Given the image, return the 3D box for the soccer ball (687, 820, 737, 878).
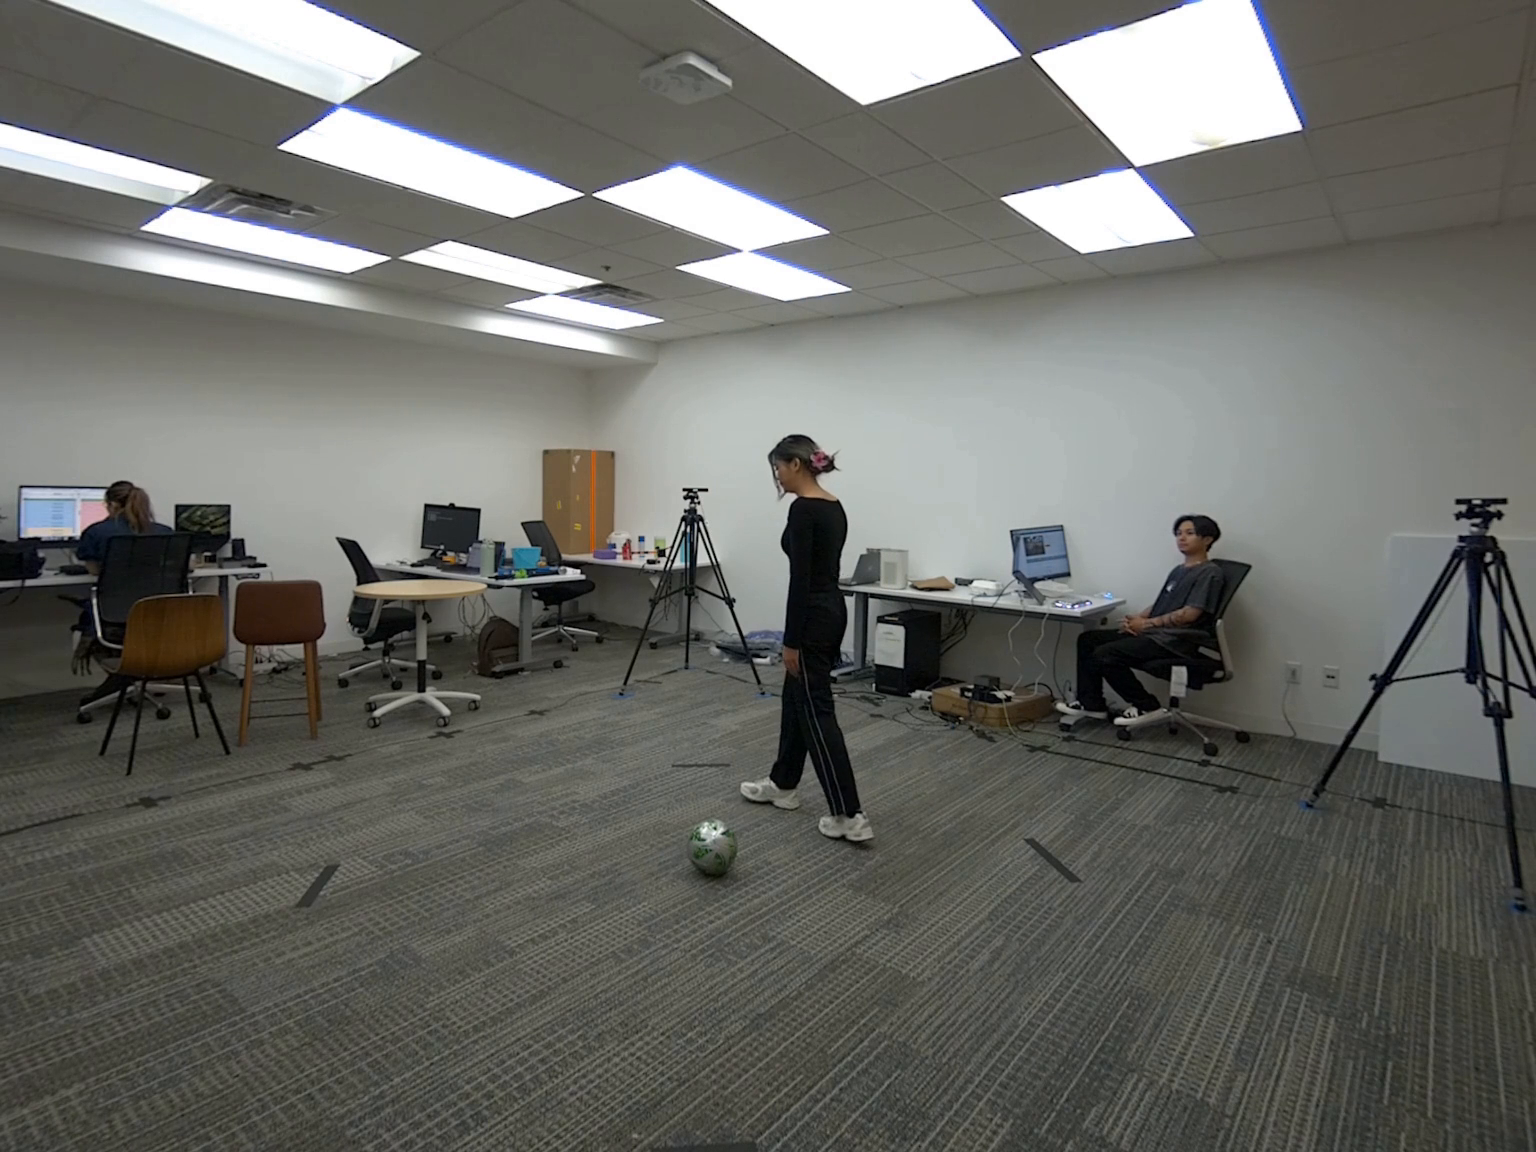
[{"bbox_3d":[-0.210,0.975,3.082,0.187,0.187,0.188,1,4,-2],"label":"soccer ball"}]
